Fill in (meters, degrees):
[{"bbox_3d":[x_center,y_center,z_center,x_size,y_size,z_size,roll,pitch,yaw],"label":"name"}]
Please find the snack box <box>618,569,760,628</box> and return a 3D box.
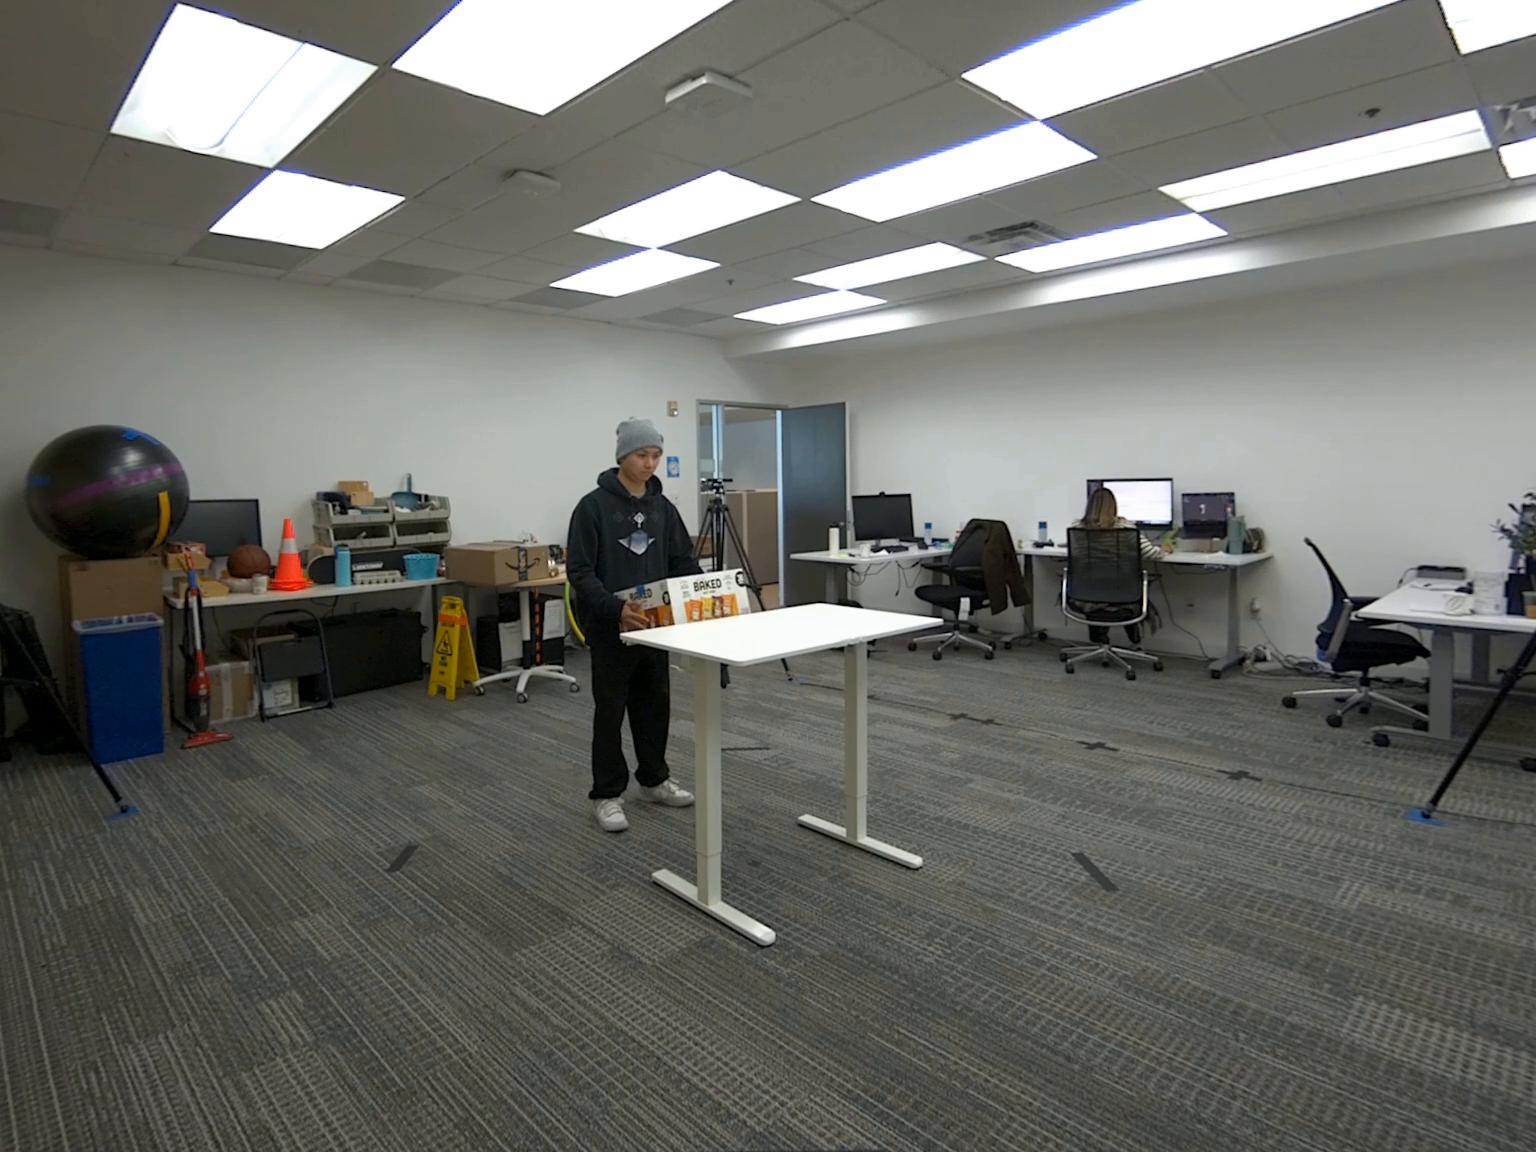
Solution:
[{"bbox_3d":[-0.342,0.117,3.400,0.348,0.206,0.395,-13,-3,44],"label":"snack box"}]
